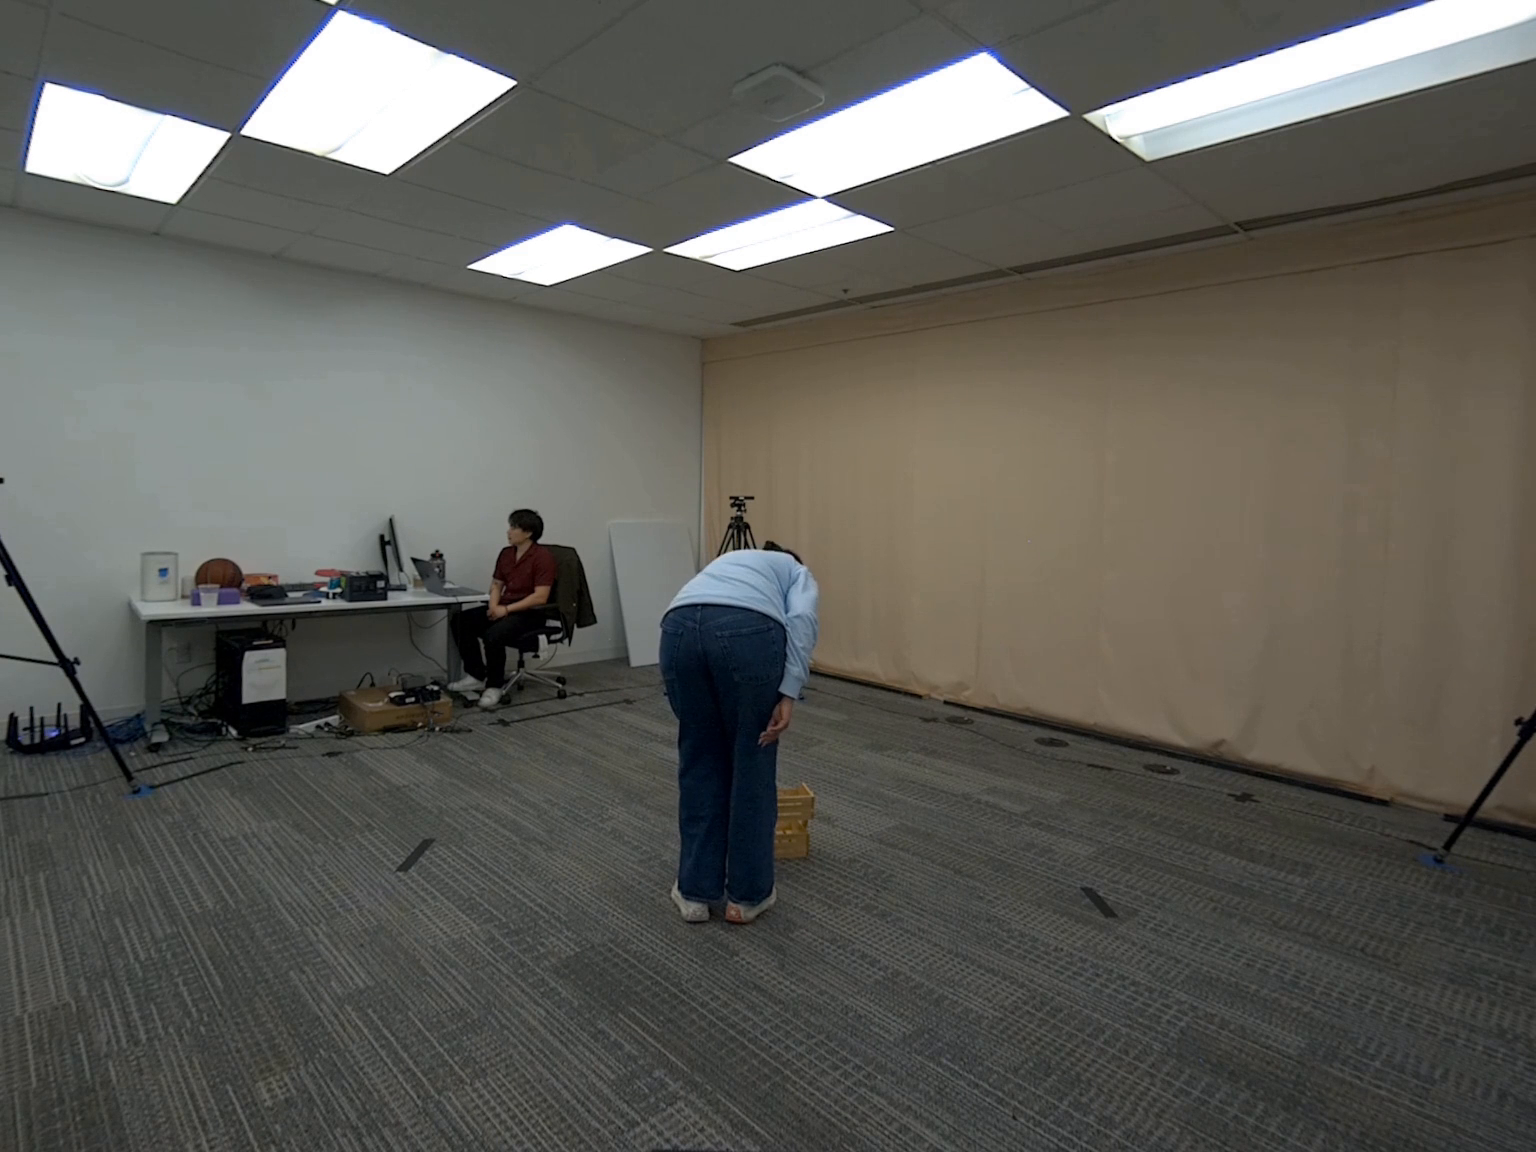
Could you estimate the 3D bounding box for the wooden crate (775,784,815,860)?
[{"bbox_3d":[-0.011,0.952,3.344,0.321,0.272,0.306,1,5,-13],"label":"wooden crate"}]
